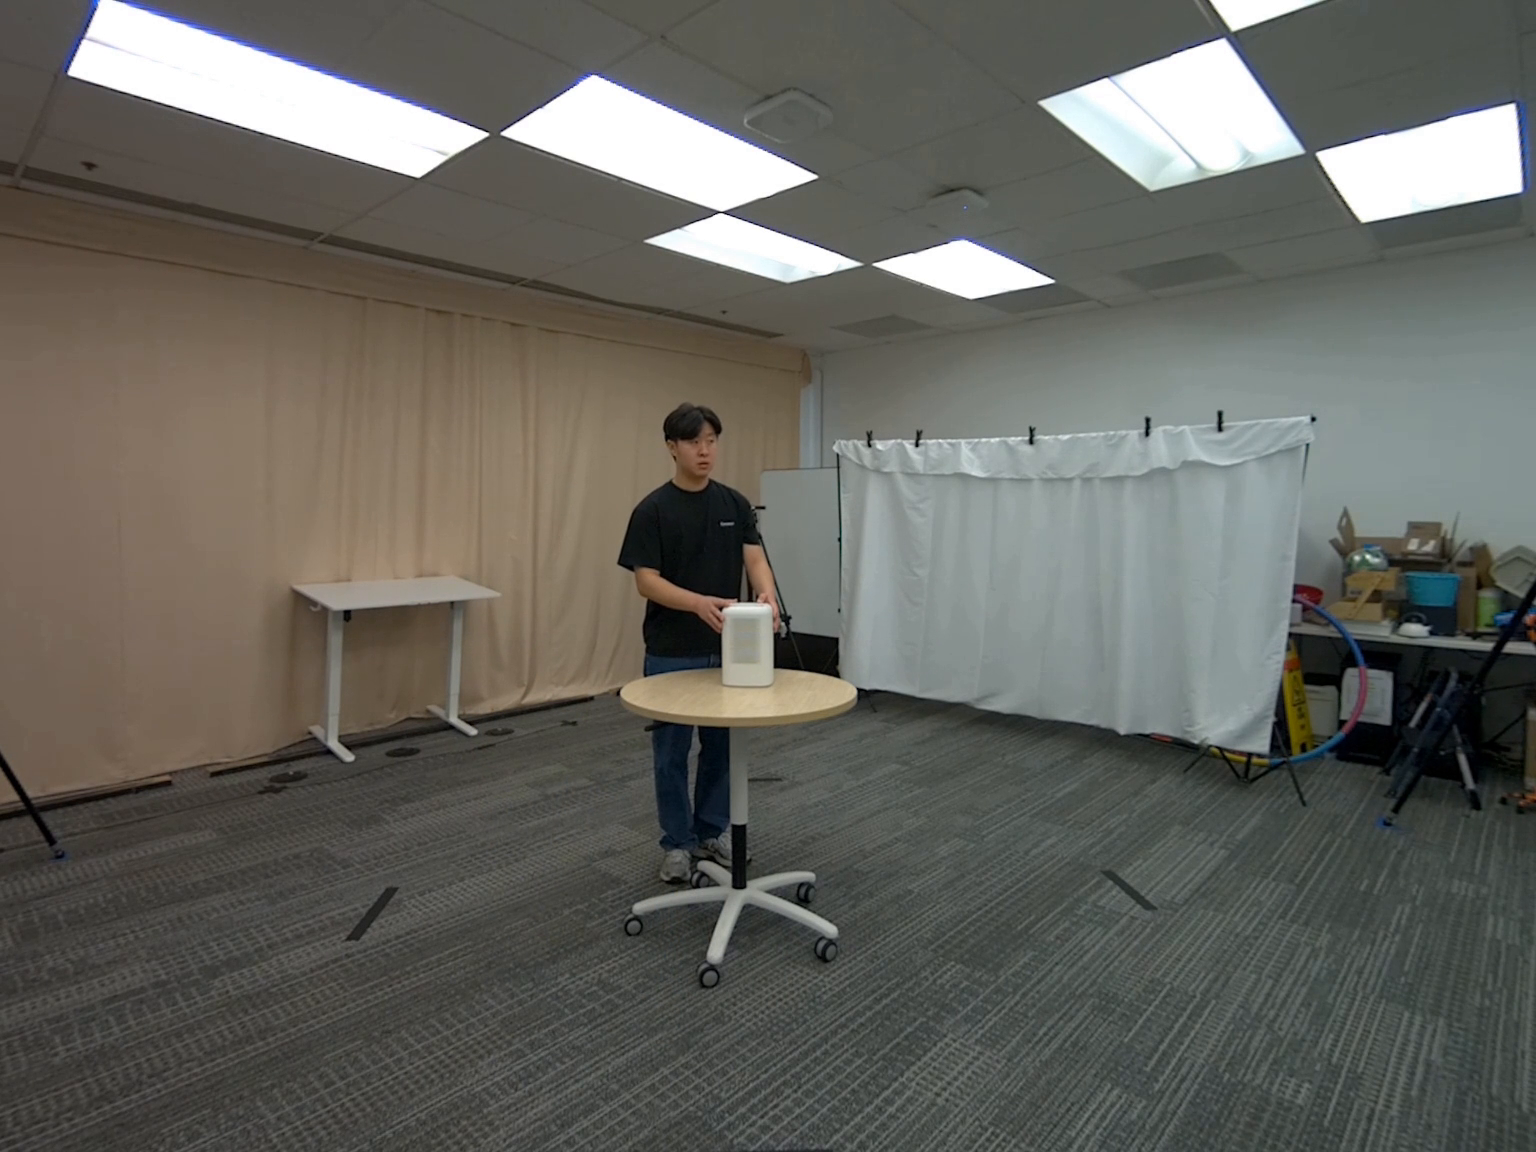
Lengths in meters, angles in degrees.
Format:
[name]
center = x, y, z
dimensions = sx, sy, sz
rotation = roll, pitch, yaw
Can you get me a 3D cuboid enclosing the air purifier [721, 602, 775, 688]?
[air purifier]
center = -0.063, 0.231, 2.845
dimensions = 0.173, 0.265, 0.170
rotation = 1, 3, 7
